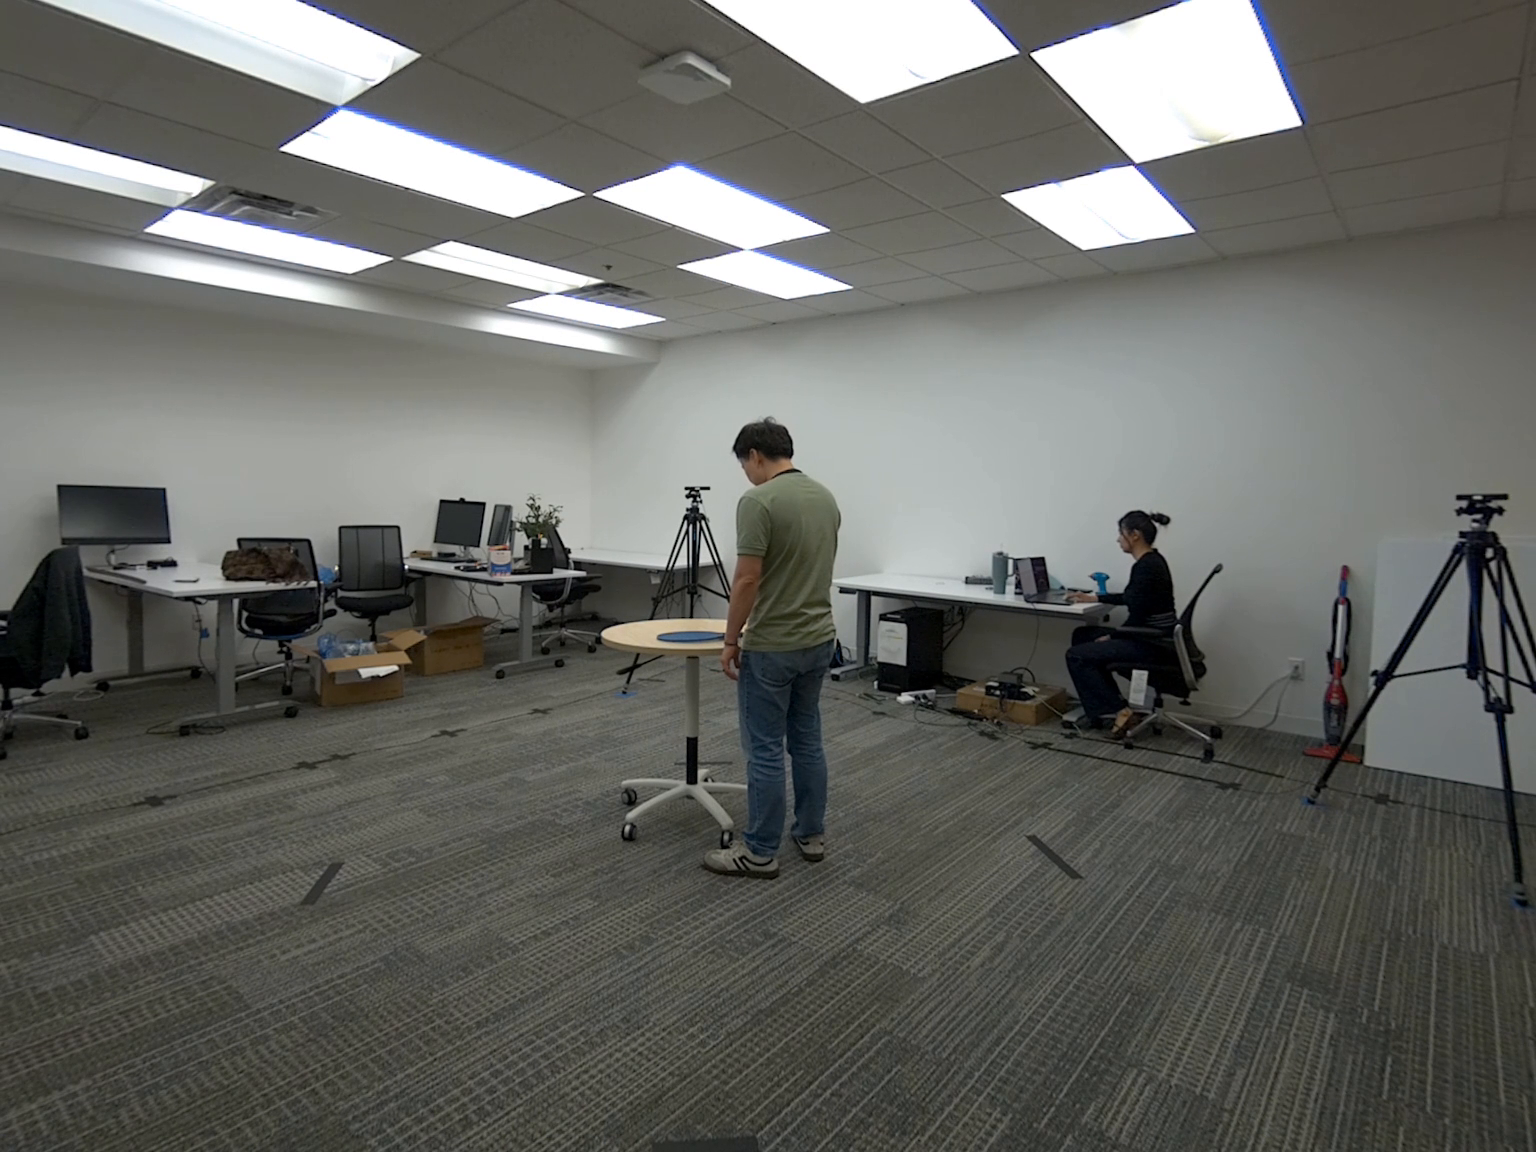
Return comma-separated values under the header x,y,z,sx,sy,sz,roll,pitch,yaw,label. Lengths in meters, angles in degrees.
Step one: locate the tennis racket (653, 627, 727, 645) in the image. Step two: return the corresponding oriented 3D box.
x,y,z,sx,sy,sz,roll,pitch,yaw,label
-0.234,0.240,3.409,0.435,0.031,0.213,-1,5,4,tennis racket
